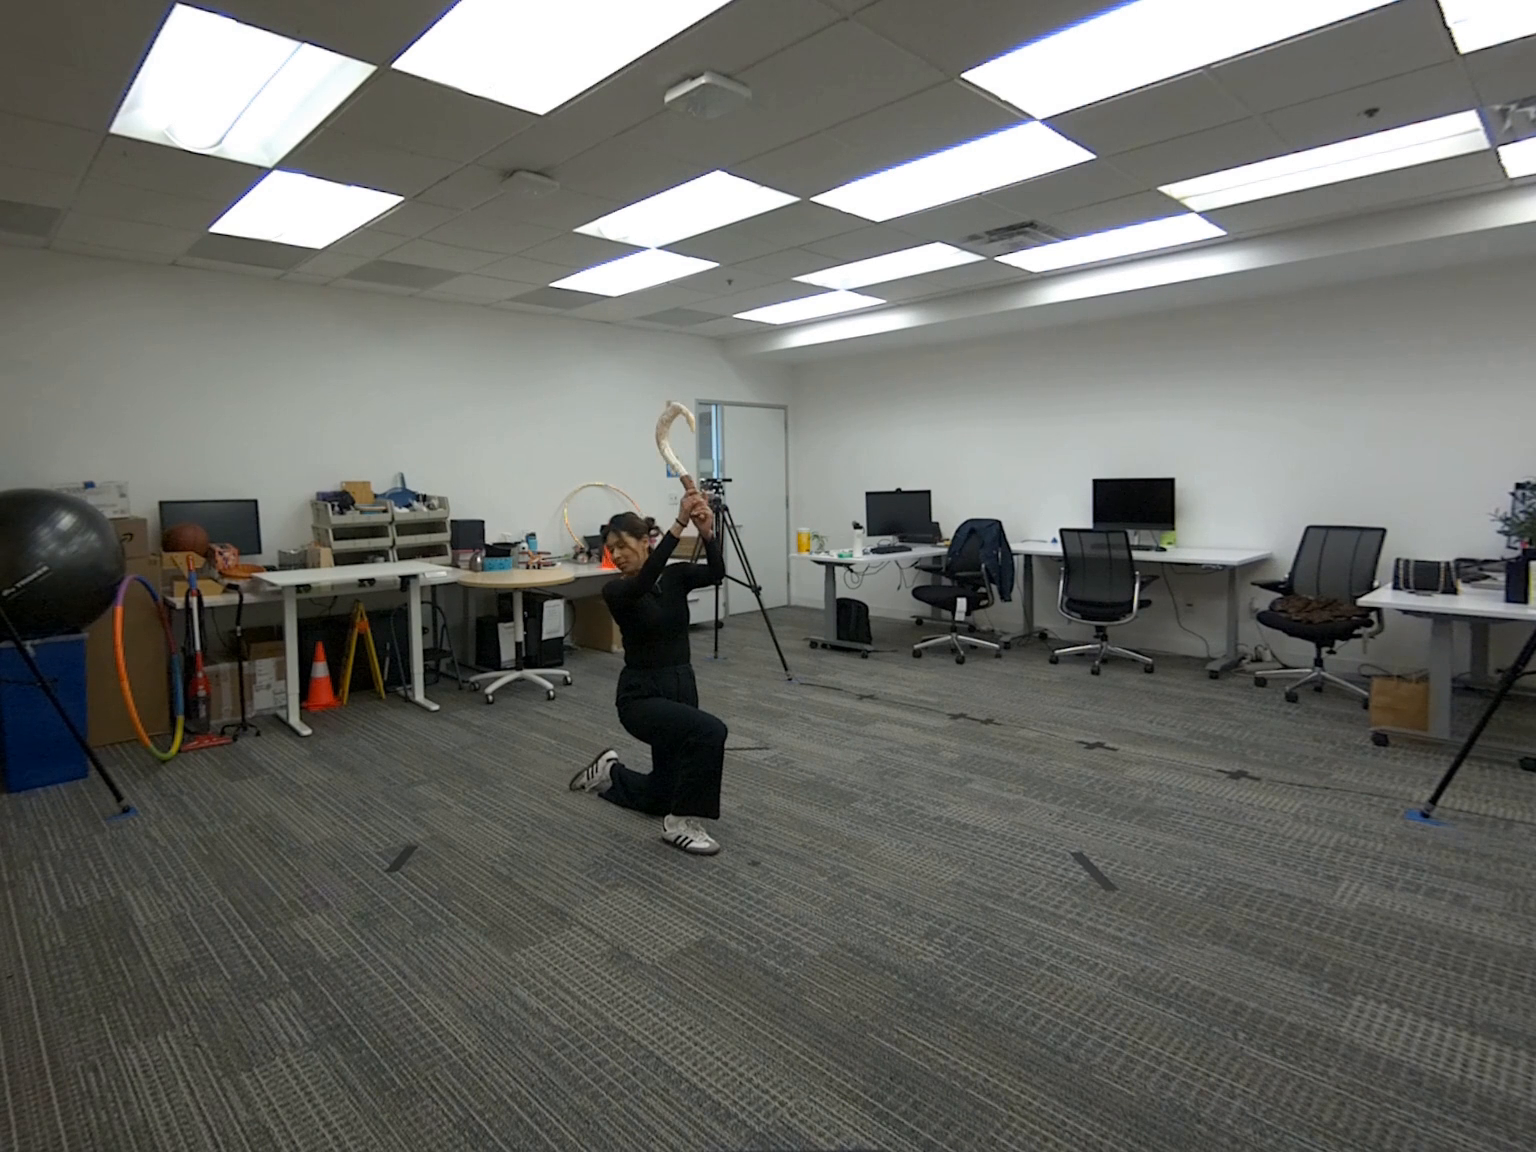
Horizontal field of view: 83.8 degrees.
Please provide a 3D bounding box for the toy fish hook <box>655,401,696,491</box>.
[{"bbox_3d":[-0.307,-0.446,3.240,0.047,0.522,0.224,1,-35,-40],"label":"toy fish hook"}]
